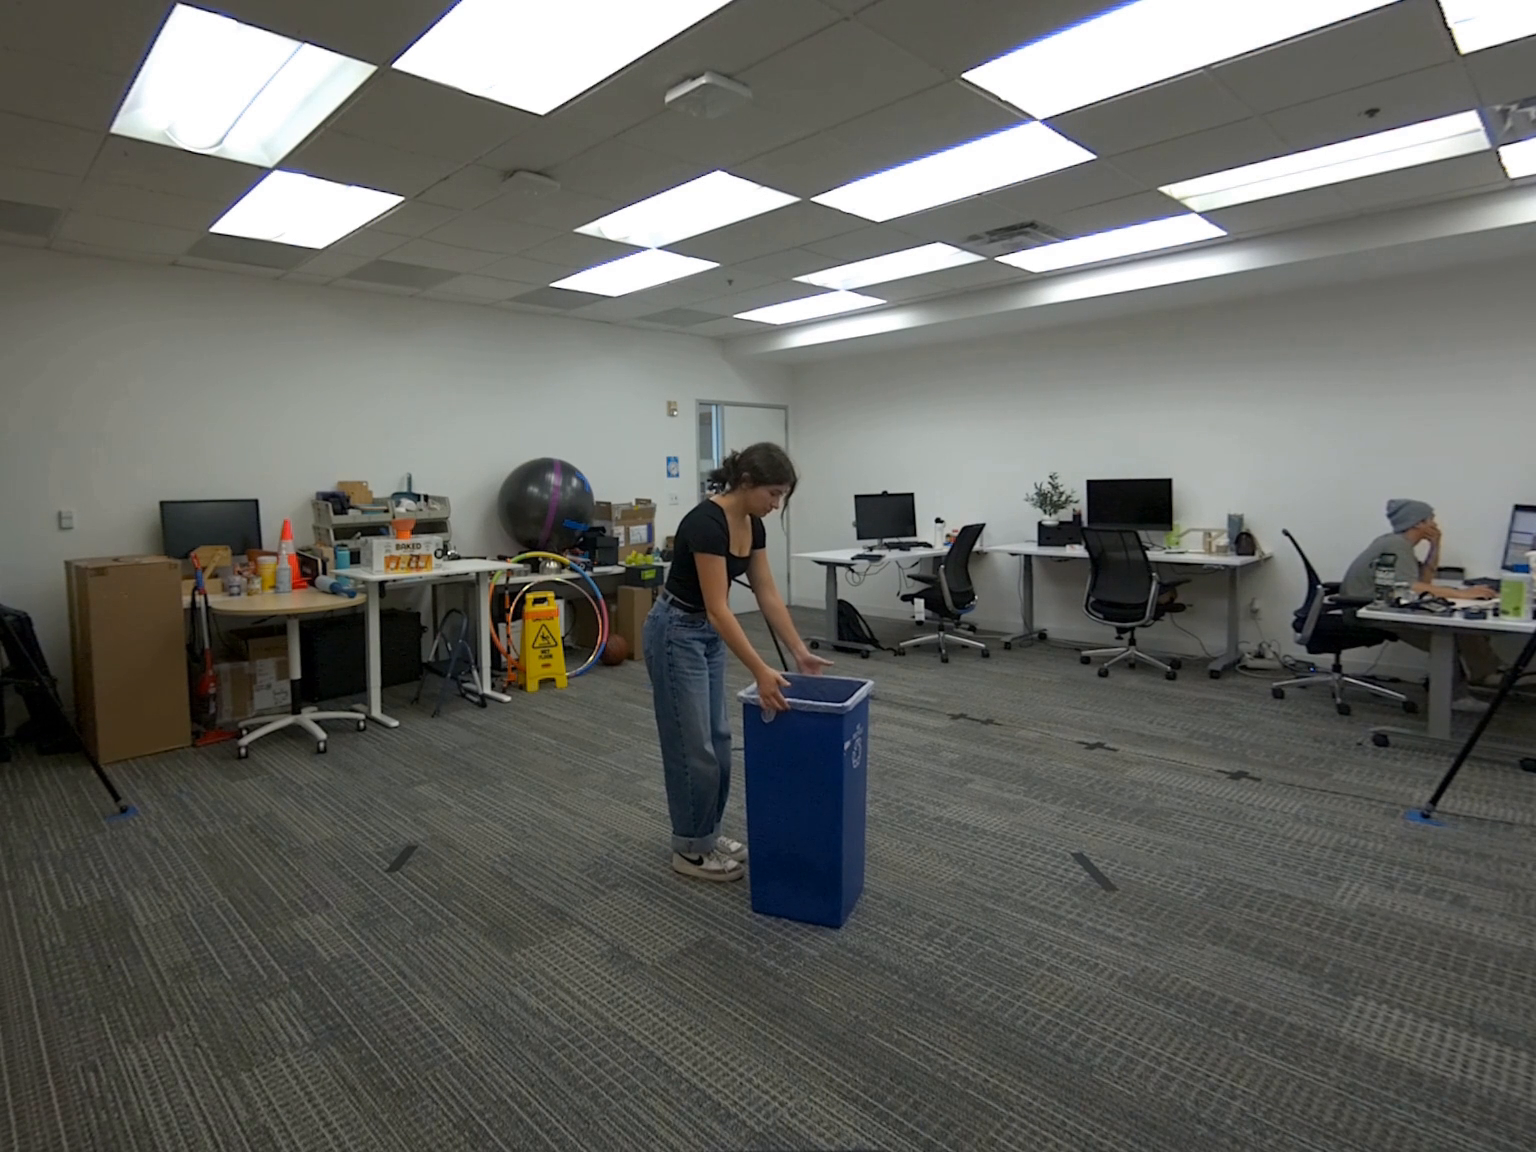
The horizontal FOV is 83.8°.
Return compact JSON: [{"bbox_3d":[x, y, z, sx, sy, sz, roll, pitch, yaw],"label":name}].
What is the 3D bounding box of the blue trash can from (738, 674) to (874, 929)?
[{"bbox_3d":[0.135,0.716,2.817,0.386,0.711,0.368,1,5,22],"label":"blue trash can"}]
